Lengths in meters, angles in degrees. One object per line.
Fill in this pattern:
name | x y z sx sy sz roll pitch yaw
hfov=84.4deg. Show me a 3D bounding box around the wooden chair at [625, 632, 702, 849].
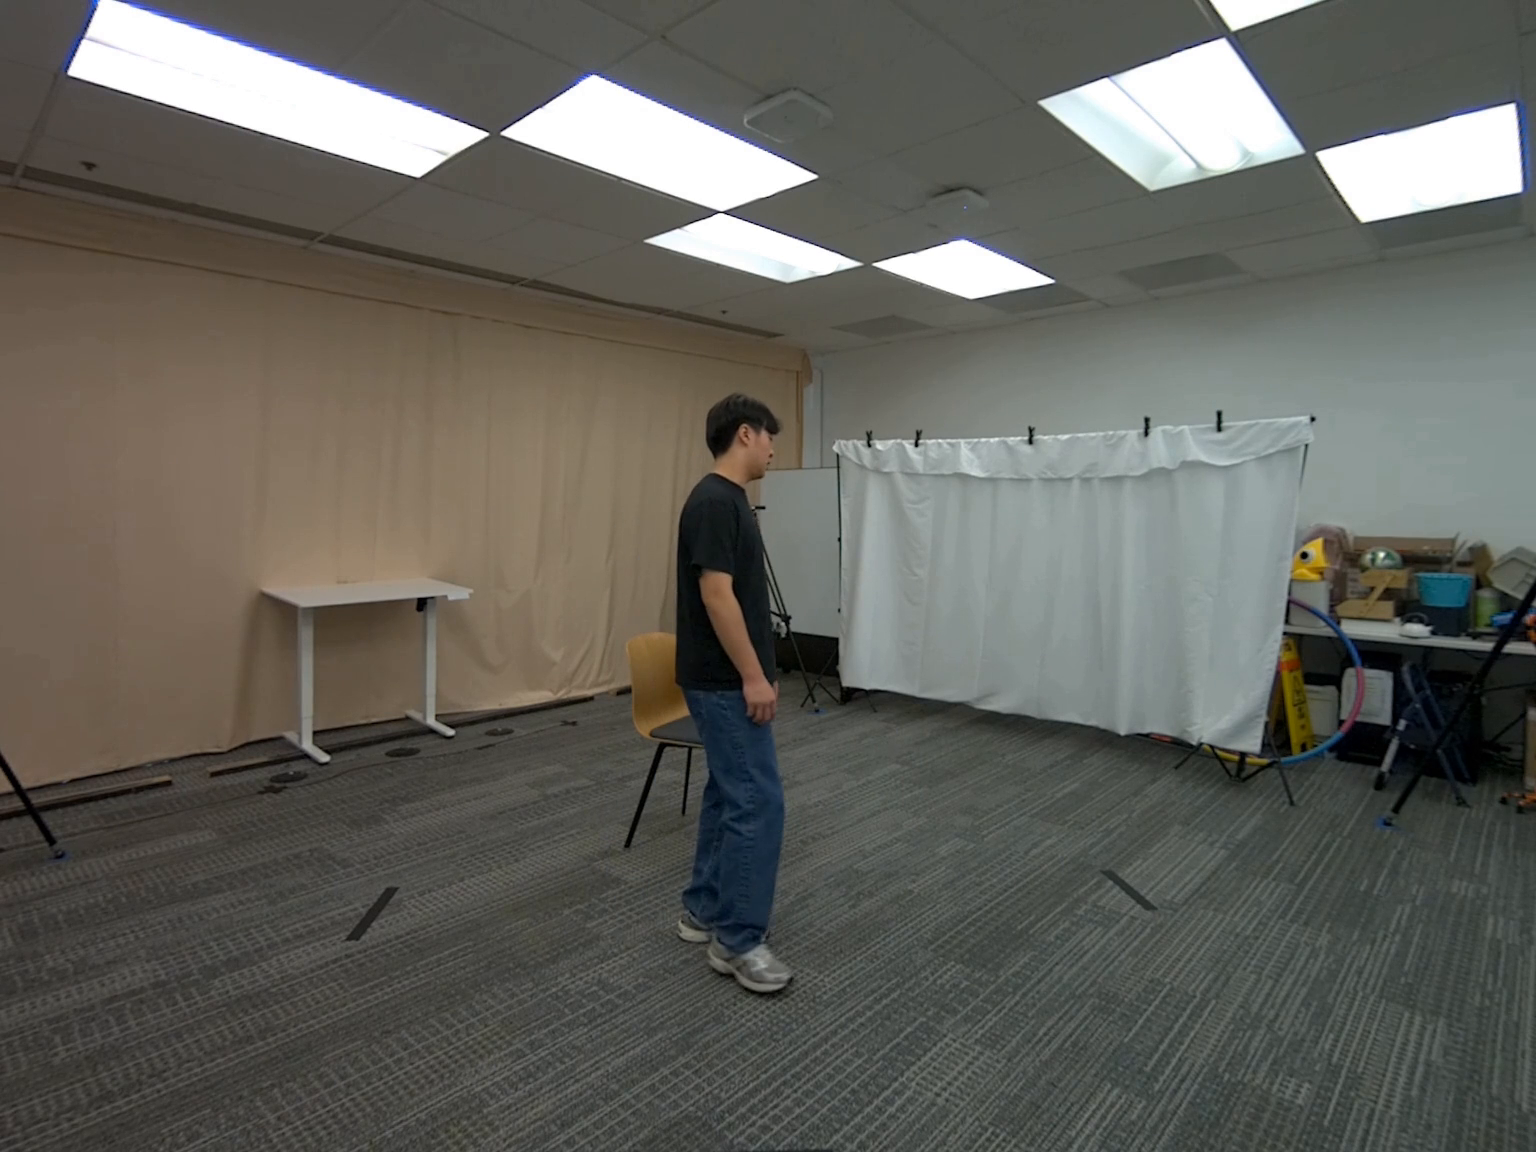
wooden chair | -0.278 0.675 3.472 0.537 0.877 0.466 -4 1 29
